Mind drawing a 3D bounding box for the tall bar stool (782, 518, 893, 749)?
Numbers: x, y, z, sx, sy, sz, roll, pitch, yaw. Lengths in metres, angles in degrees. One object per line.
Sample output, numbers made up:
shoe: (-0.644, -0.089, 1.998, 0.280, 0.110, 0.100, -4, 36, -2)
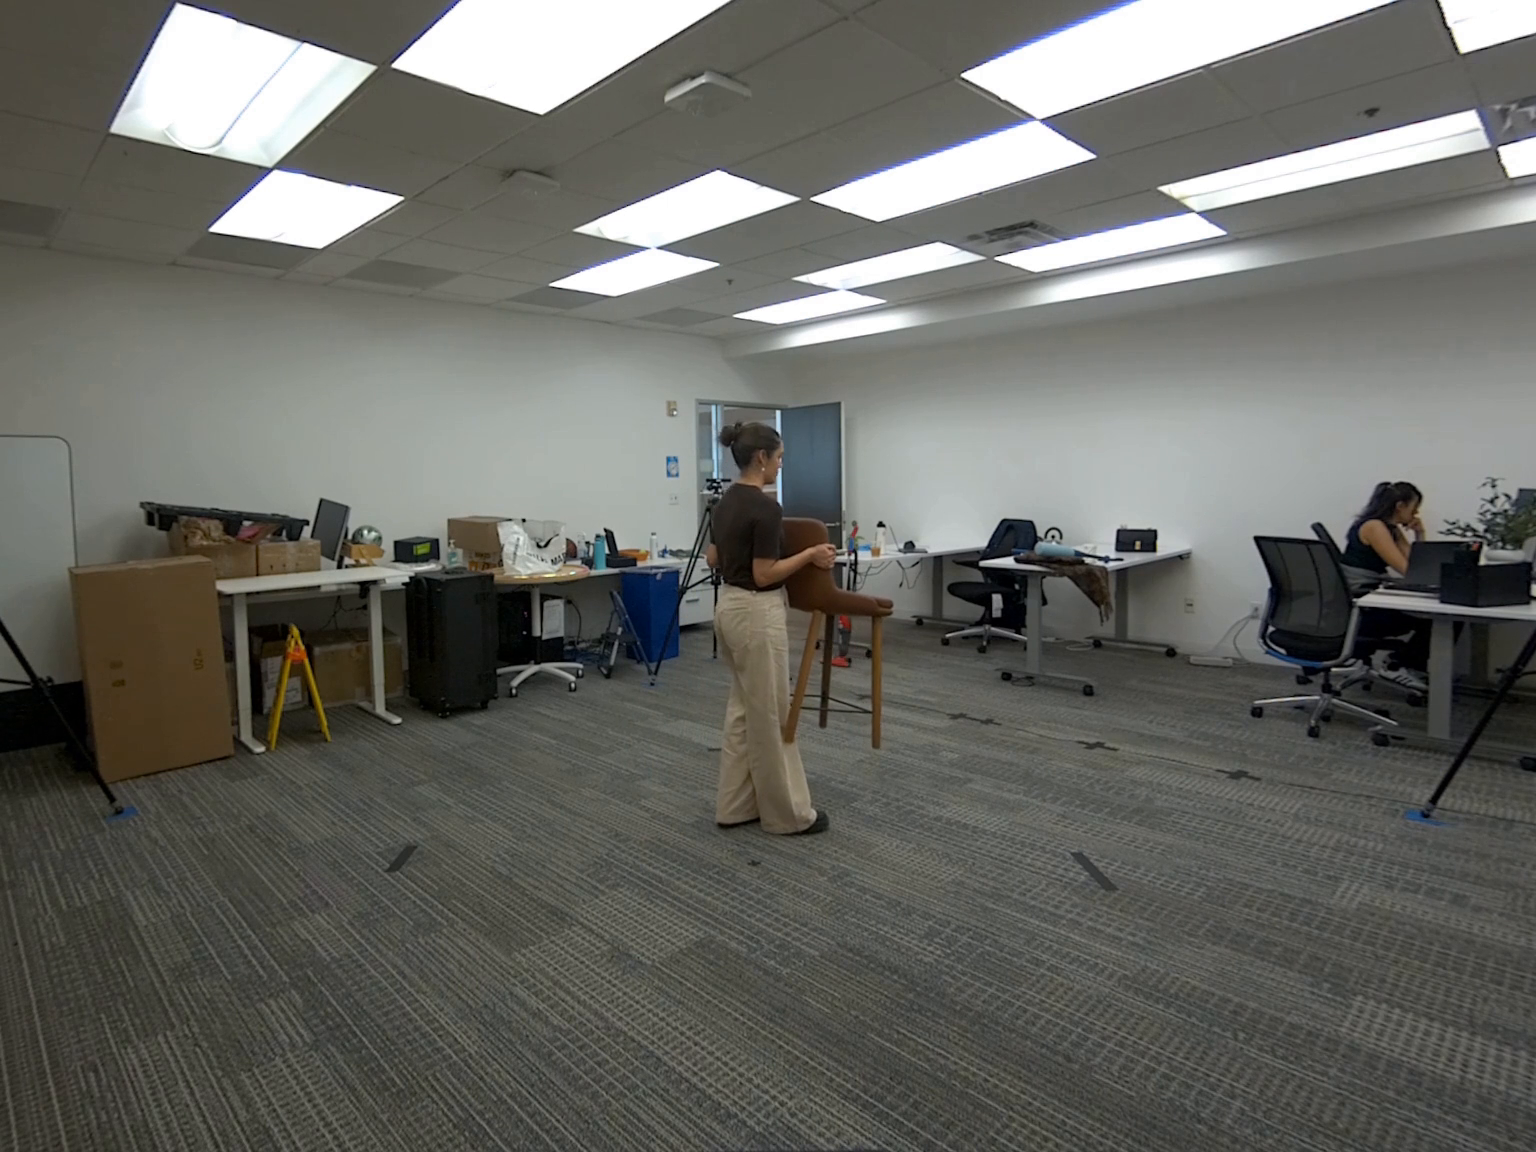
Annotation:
tall bar stool: (0.223, 0.231, 3.568, 0.455, 0.891, 0.468, 8, -2, -30)
